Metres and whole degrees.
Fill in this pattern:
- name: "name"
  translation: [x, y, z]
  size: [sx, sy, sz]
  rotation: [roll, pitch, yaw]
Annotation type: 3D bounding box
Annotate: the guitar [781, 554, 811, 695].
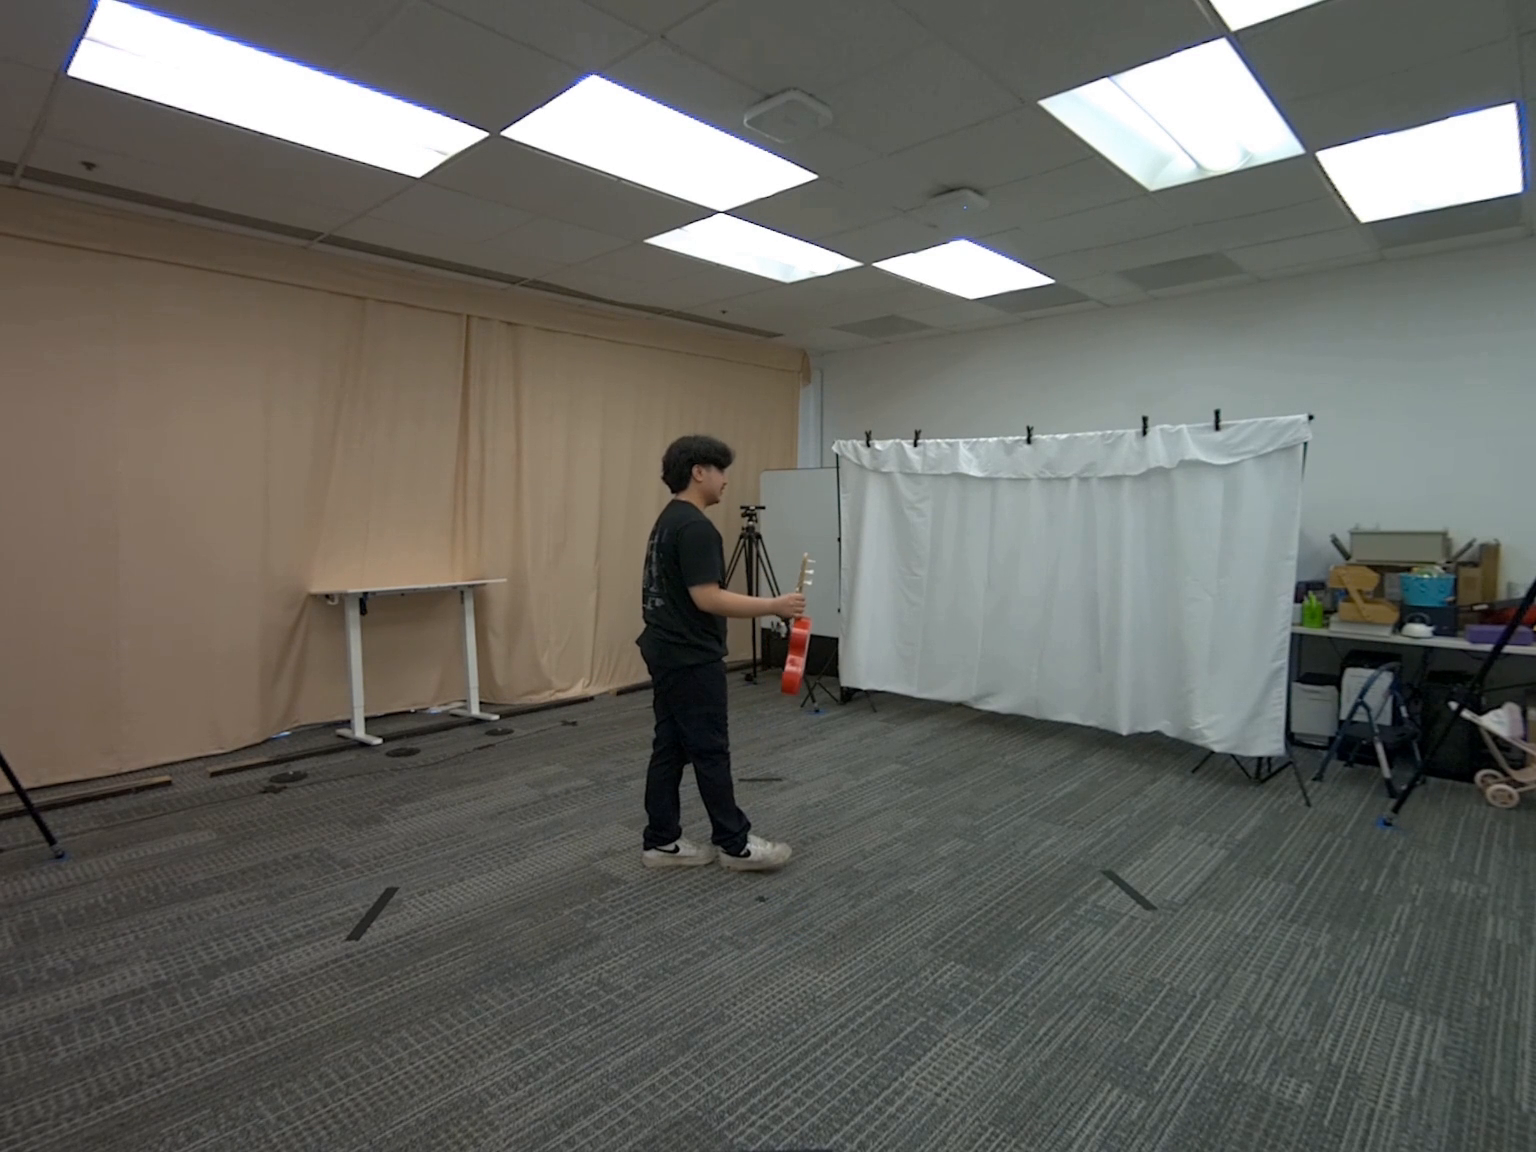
- name: "guitar"
  translation: [0.118, 0.181, 2.956]
  size: [0.071, 0.494, 0.193]
  rotation: [9, 14, 3]
